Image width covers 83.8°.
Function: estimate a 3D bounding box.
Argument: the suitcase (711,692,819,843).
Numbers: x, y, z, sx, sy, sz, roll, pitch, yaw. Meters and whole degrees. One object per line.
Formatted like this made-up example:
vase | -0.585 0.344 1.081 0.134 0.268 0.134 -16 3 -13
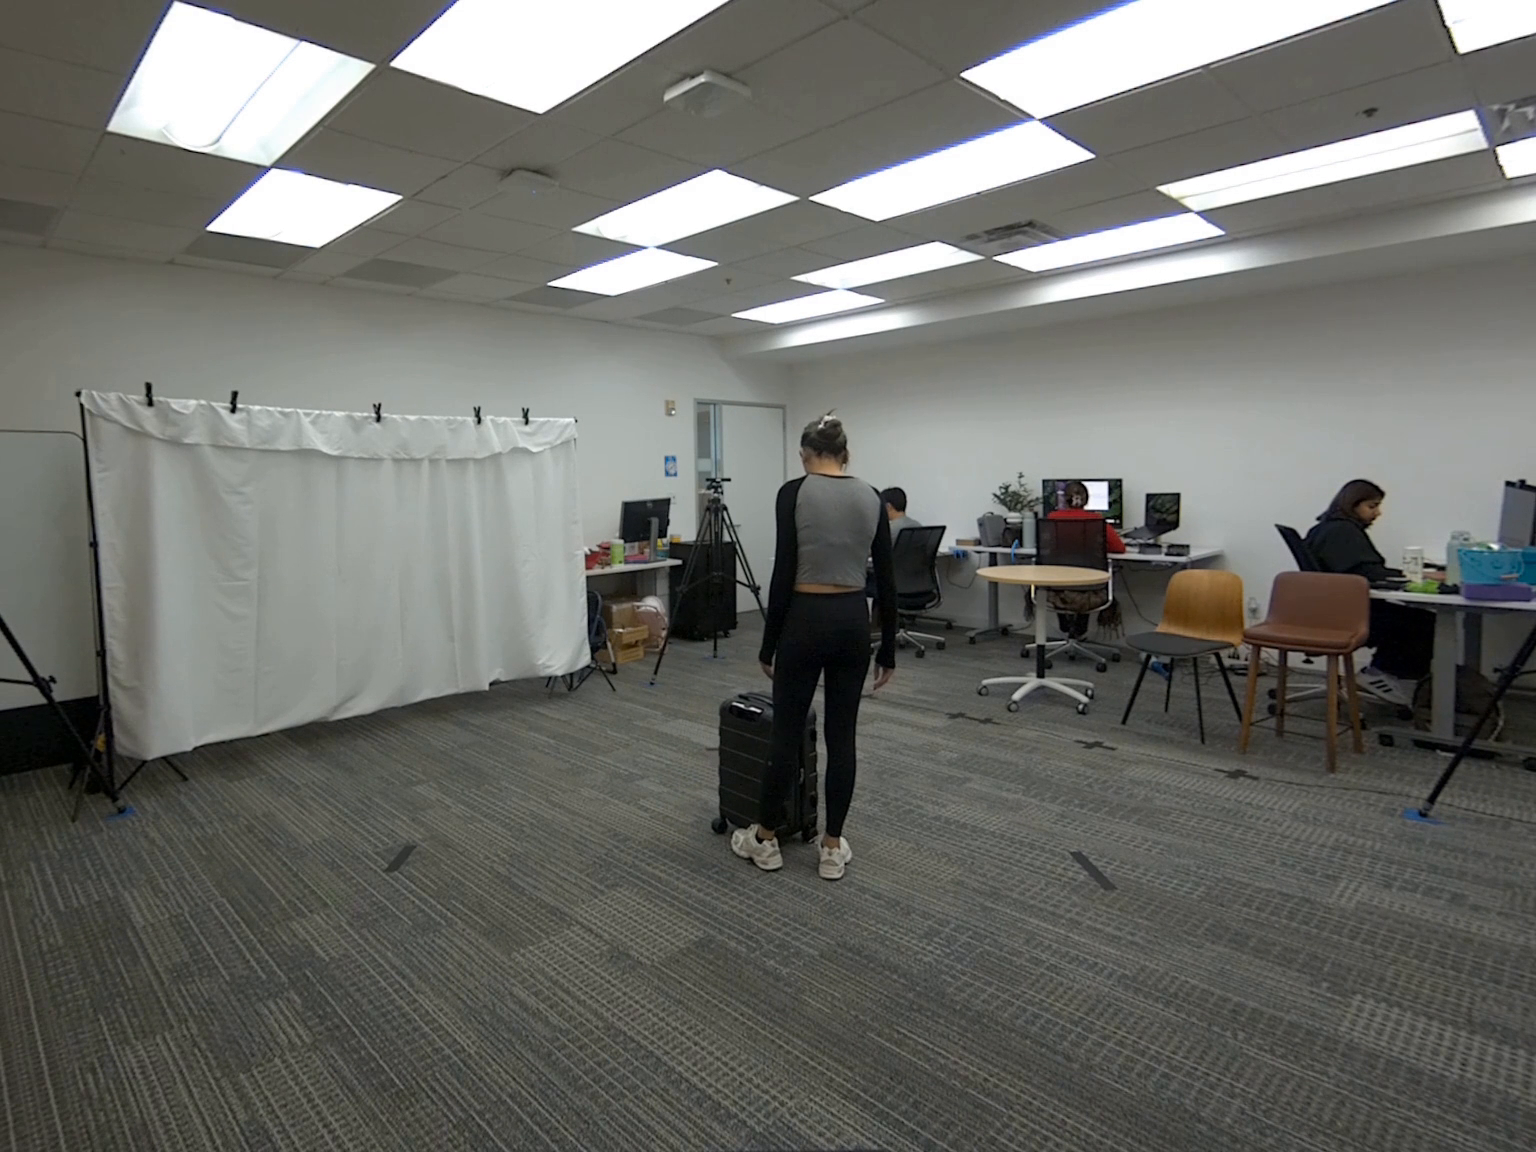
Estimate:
suitcase | -0.004 0.740 3.336 0.241 0.548 0.387 -2 4 -42
